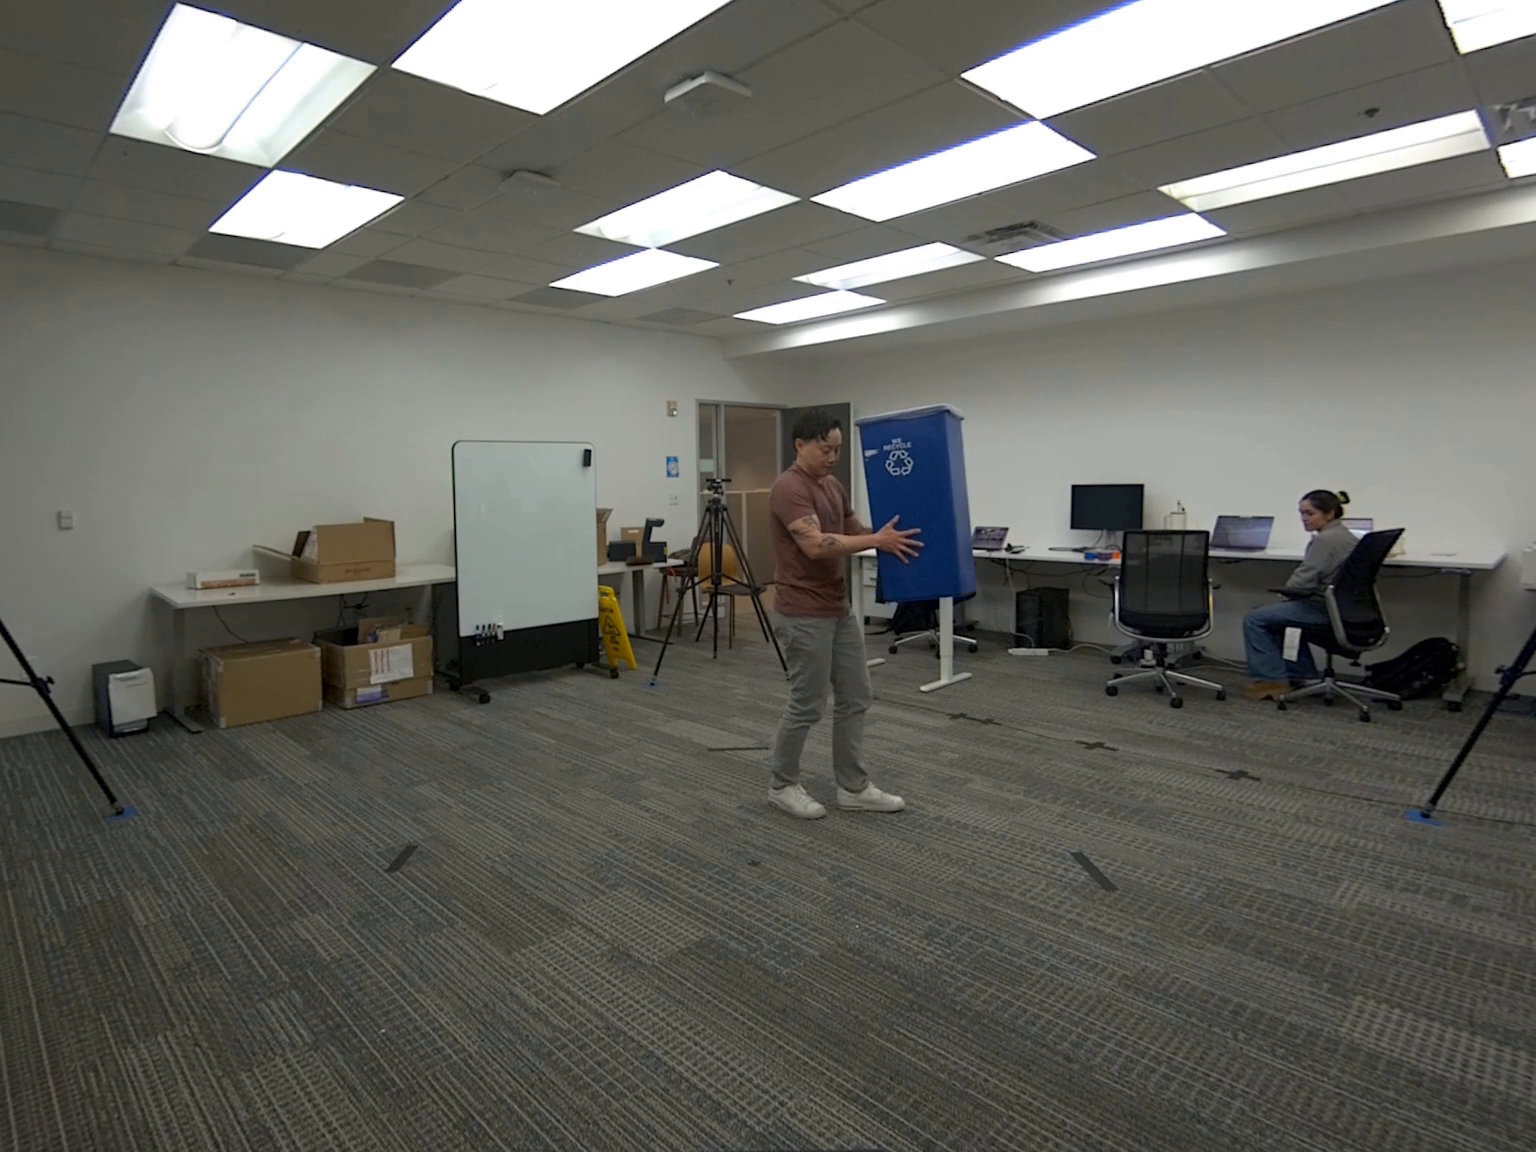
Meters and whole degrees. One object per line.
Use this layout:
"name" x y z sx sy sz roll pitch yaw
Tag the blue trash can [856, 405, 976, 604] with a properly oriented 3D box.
"blue trash can" 0.605 -0.279 3.357 0.381 0.715 0.370 -8 -2 25
